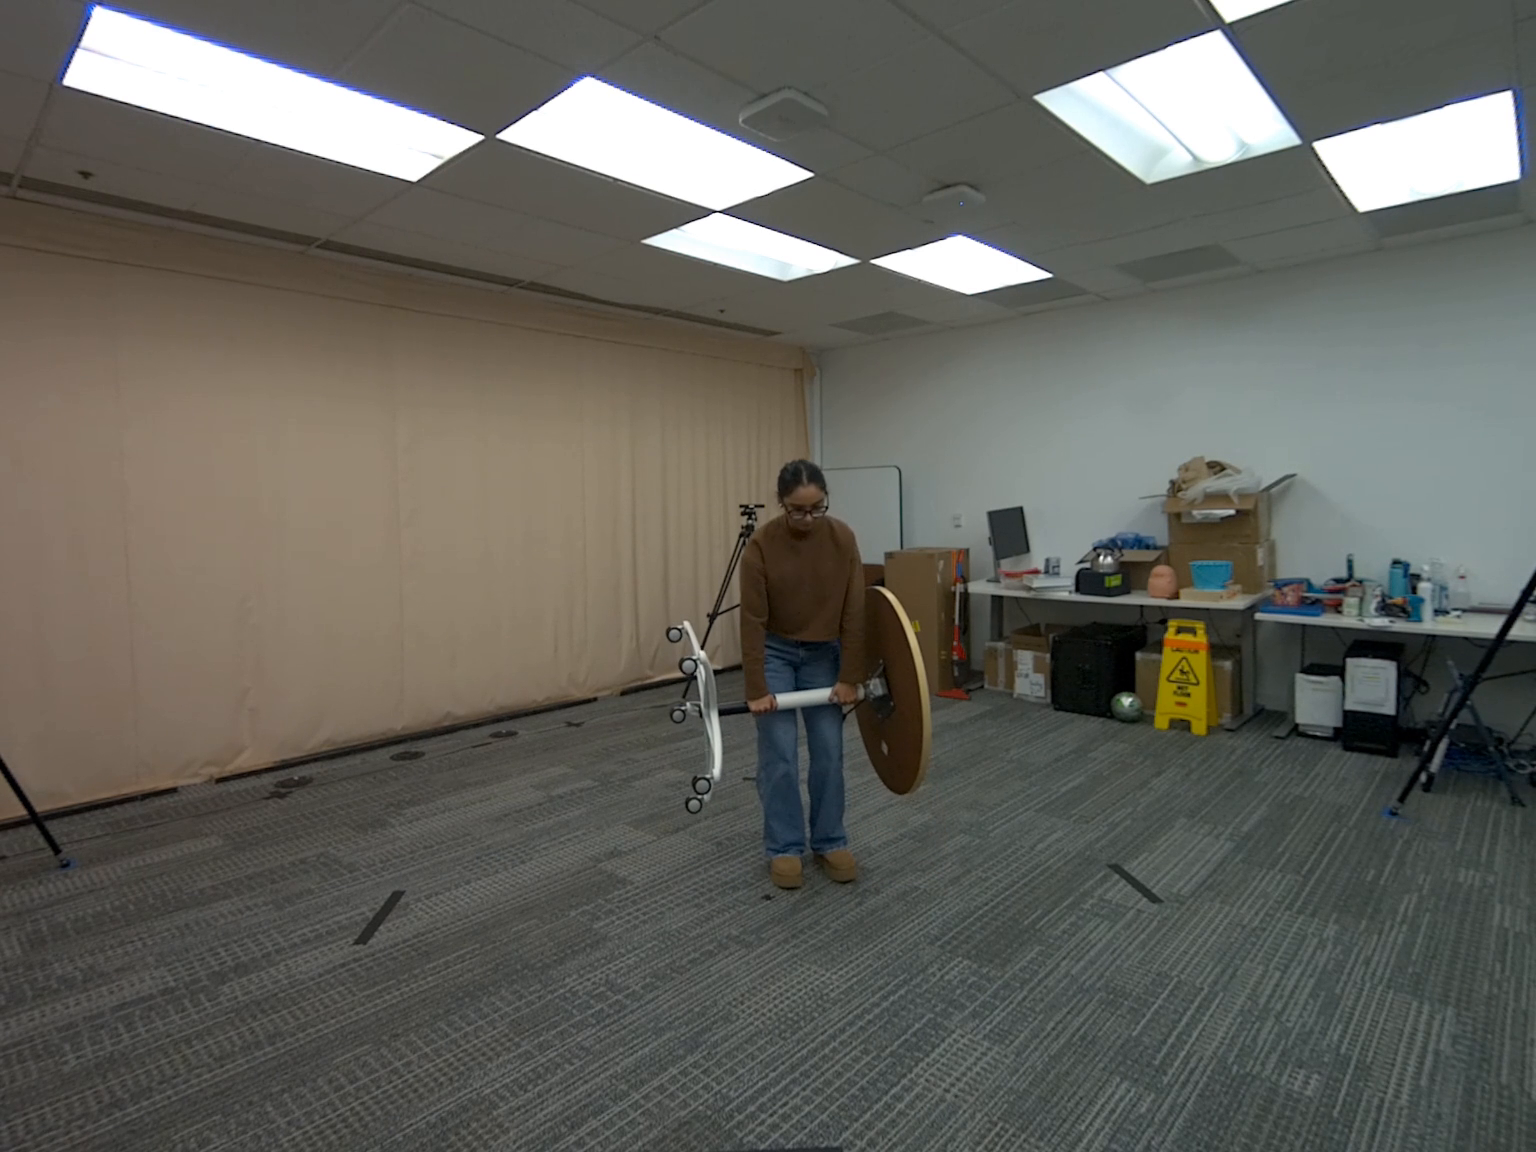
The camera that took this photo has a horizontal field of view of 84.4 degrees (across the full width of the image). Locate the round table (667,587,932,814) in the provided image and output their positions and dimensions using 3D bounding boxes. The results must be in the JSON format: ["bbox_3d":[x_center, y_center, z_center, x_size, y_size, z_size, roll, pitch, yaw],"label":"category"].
[{"bbox_3d":[0.064,0.470,3.095,0.786,0.761,0.775,-6,5,-11],"label":"round table"}]
